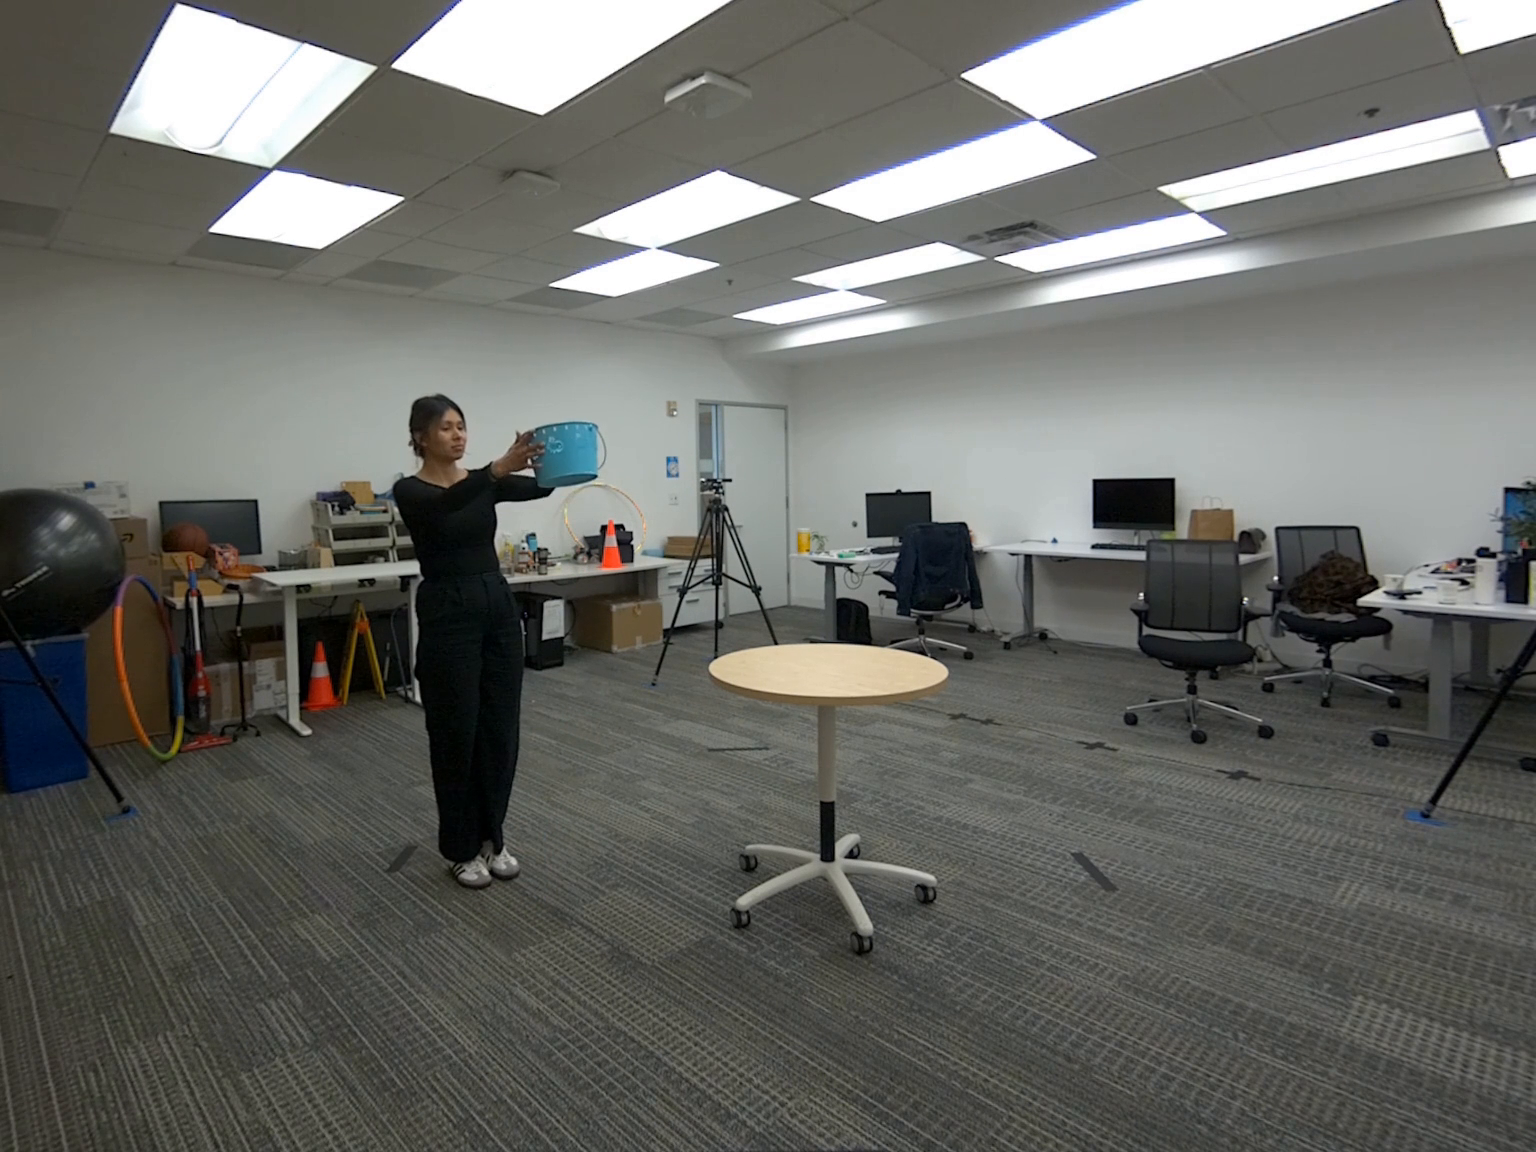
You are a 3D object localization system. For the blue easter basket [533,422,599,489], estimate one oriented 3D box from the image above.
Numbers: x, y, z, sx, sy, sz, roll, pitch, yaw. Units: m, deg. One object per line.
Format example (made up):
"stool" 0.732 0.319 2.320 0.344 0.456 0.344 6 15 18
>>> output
"blue easter basket" -0.618 -0.356 2.578 0.243 0.156 0.243 -10 -1 -2
